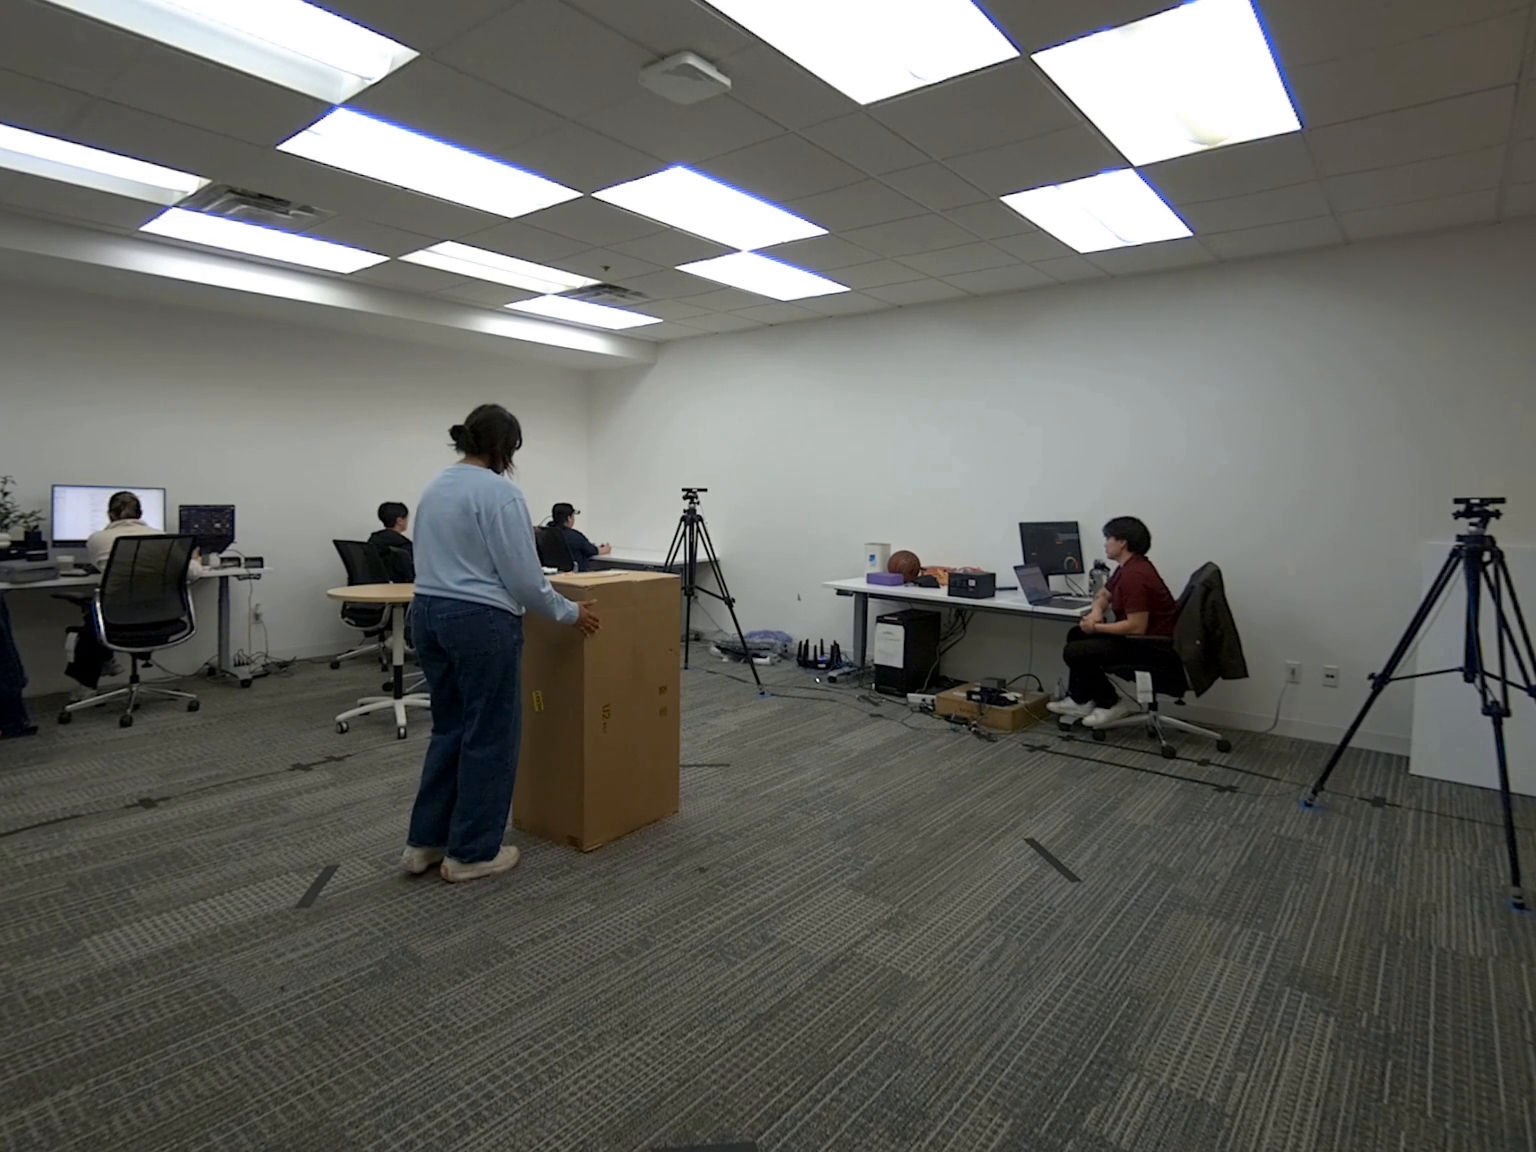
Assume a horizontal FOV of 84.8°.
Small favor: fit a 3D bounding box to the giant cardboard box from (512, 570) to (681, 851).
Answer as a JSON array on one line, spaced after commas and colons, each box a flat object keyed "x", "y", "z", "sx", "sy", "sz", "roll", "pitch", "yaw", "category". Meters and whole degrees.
[{"x": -0.718, "y": 0.512, "z": 3.563, "sx": 0.440, "sy": 1.023, "sz": 0.561, "roll": 3, "pitch": 4, "yaw": 35, "category": "giant cardboard box"}]
